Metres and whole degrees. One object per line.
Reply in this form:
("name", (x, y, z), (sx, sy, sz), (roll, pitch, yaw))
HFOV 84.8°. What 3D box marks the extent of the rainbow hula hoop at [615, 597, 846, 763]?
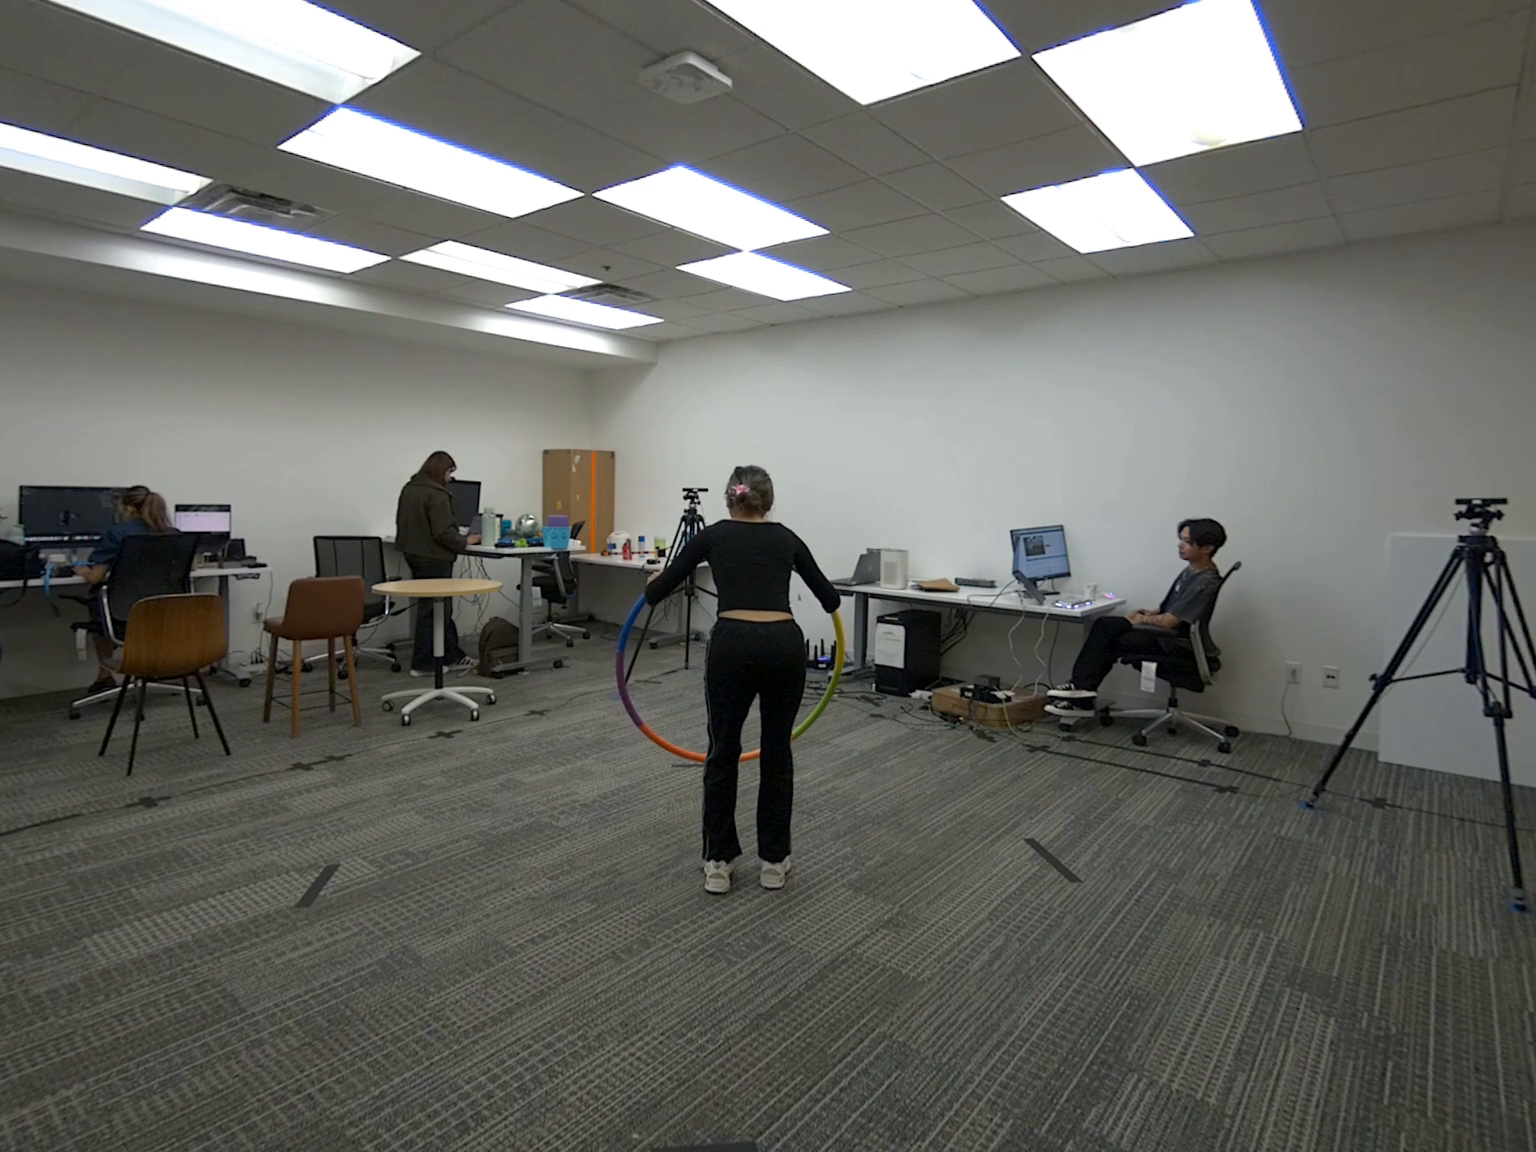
("rainbow hula hoop", (-0.171, 0.363, 3.578), (0.970, 0.963, 0.036), (1, 19, -8))
